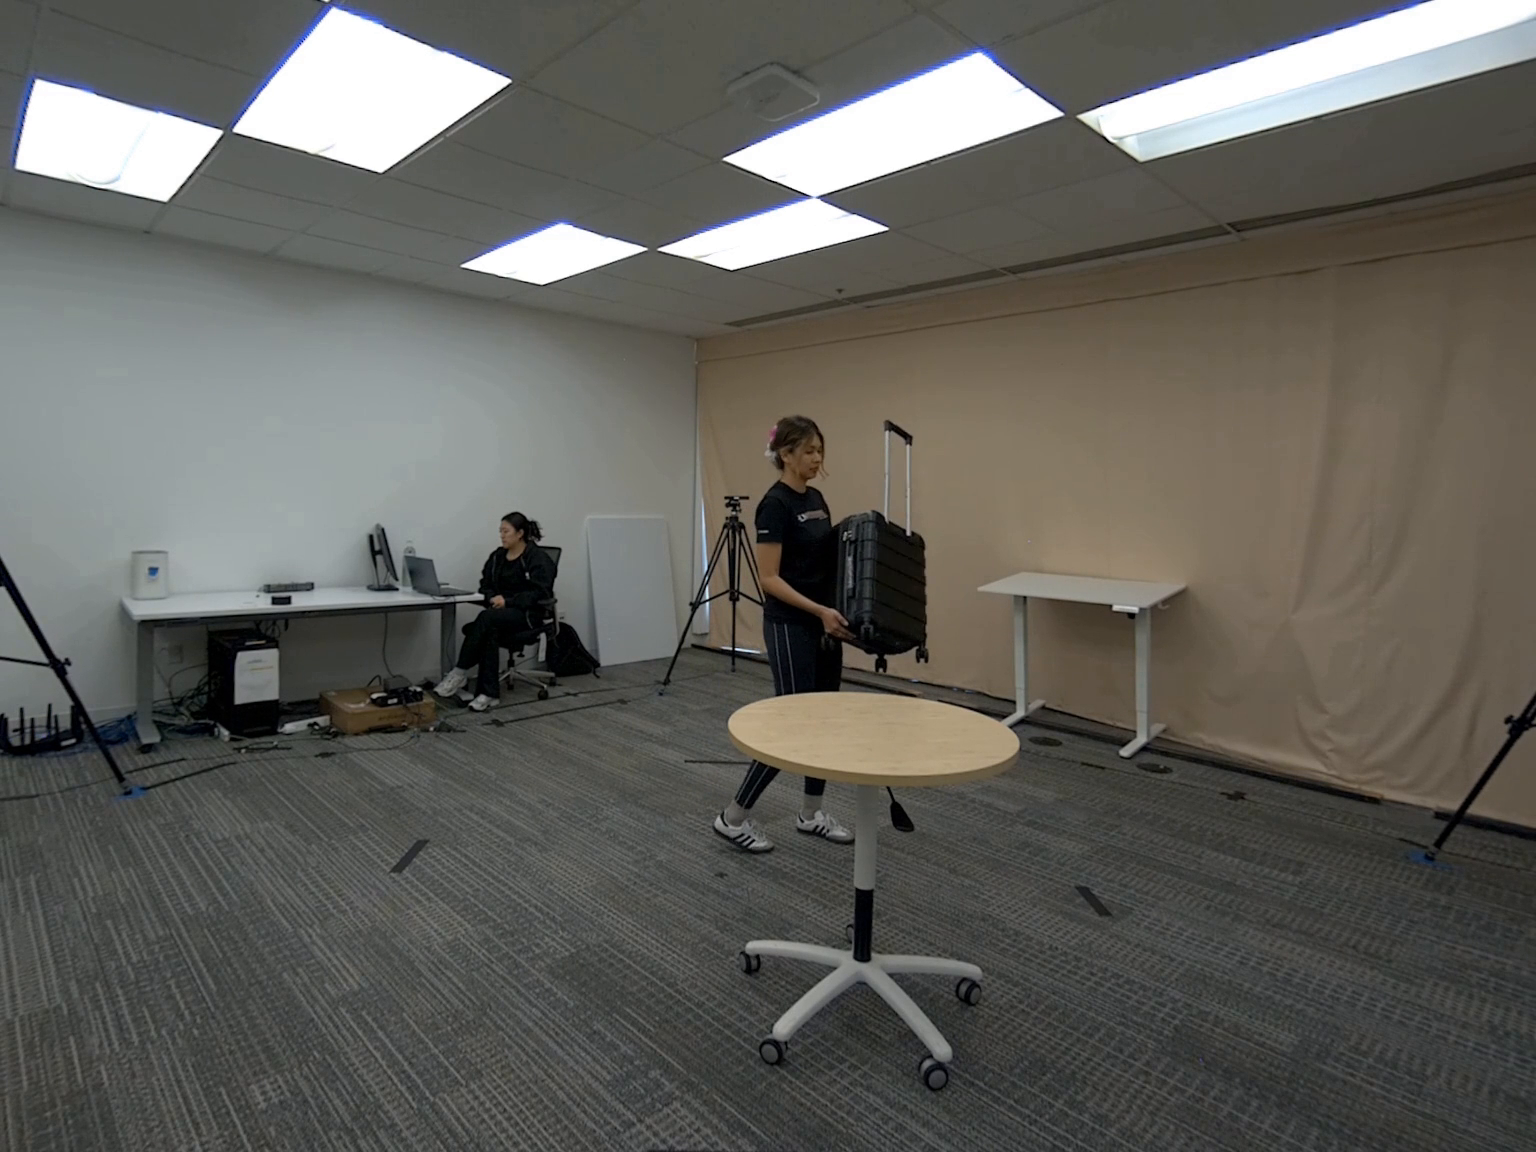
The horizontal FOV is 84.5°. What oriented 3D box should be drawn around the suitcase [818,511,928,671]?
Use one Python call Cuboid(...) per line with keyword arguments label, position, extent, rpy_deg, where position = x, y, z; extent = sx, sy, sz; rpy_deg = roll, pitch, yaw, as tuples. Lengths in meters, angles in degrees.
Cuboid(label="suitcase", position=(0.426, -0.145, 3.363), extent=(0.375, 0.994, 0.259), rpy_deg=(20, -31, -28))
